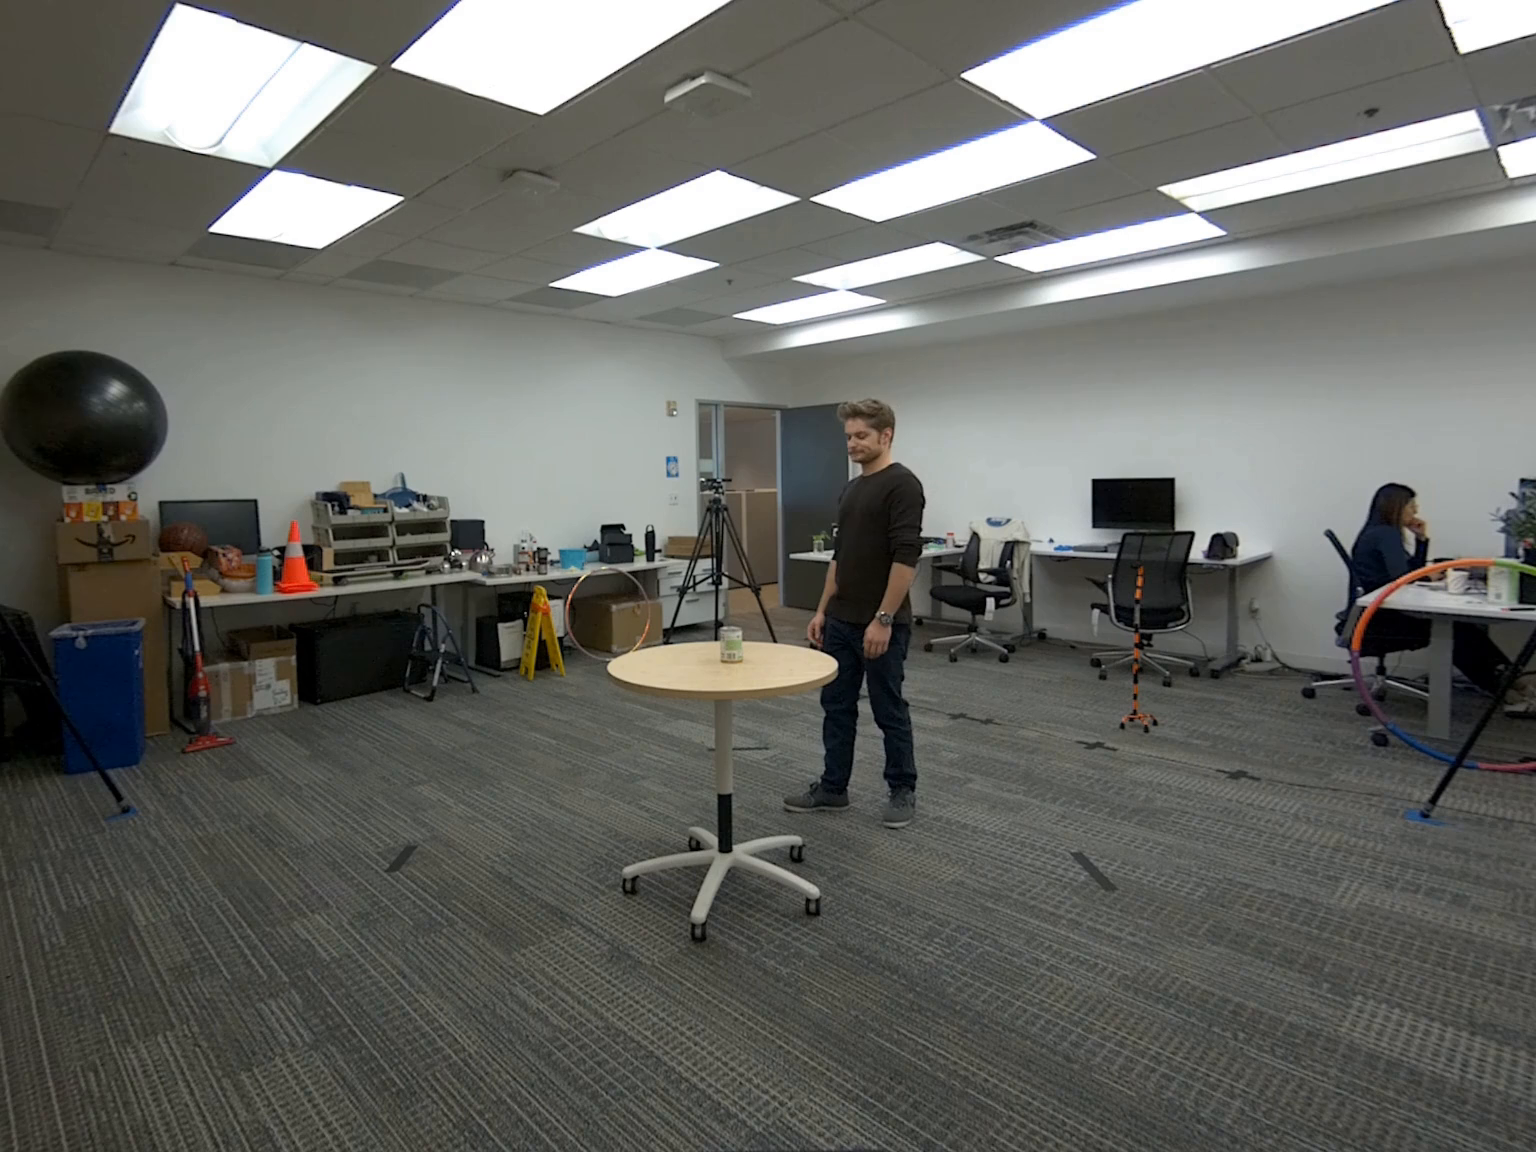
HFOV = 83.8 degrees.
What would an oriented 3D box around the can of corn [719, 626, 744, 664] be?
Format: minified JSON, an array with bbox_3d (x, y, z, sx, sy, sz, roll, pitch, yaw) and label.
[{"bbox_3d":[-0.122,0.232,2.871,0.074,0.111,0.074,-2,3,-2],"label":"can of corn"}]
